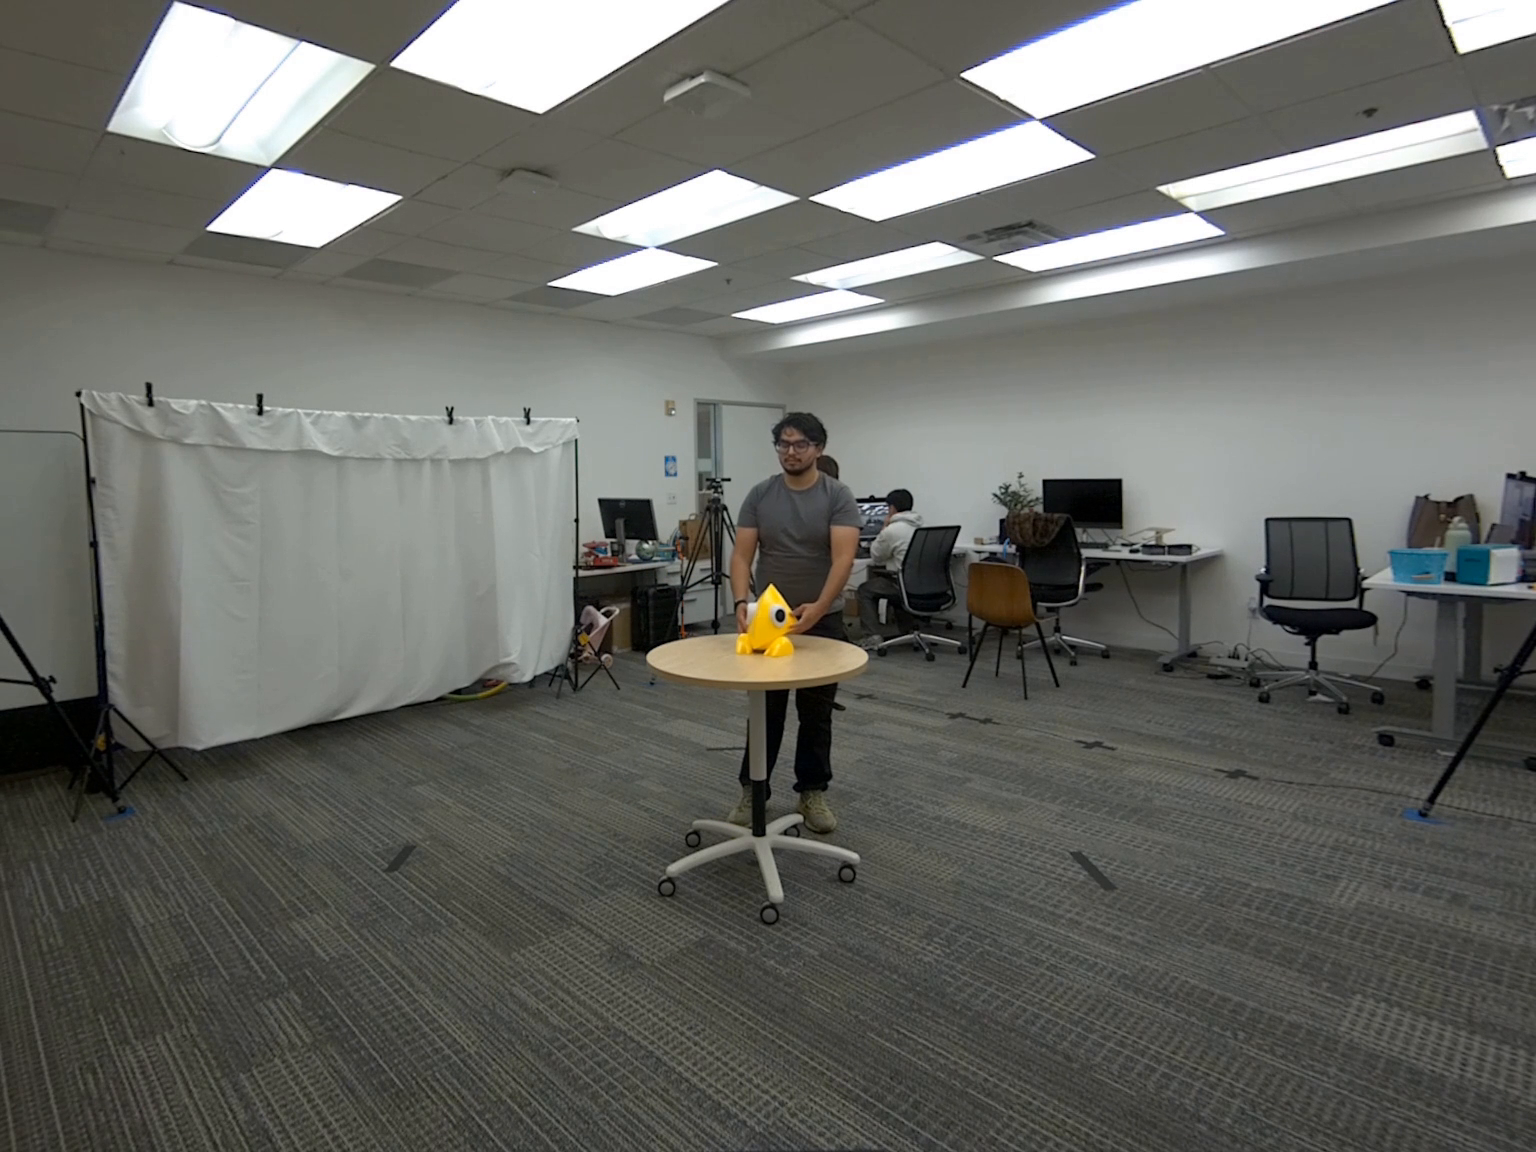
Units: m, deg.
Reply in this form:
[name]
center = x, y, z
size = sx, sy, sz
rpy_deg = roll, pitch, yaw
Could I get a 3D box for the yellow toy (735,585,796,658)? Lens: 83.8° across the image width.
[yellow toy]
center = -0.011, 0.150, 3.026
size = 0.209, 0.230, 0.189
rpy_deg = 2, 6, 25
